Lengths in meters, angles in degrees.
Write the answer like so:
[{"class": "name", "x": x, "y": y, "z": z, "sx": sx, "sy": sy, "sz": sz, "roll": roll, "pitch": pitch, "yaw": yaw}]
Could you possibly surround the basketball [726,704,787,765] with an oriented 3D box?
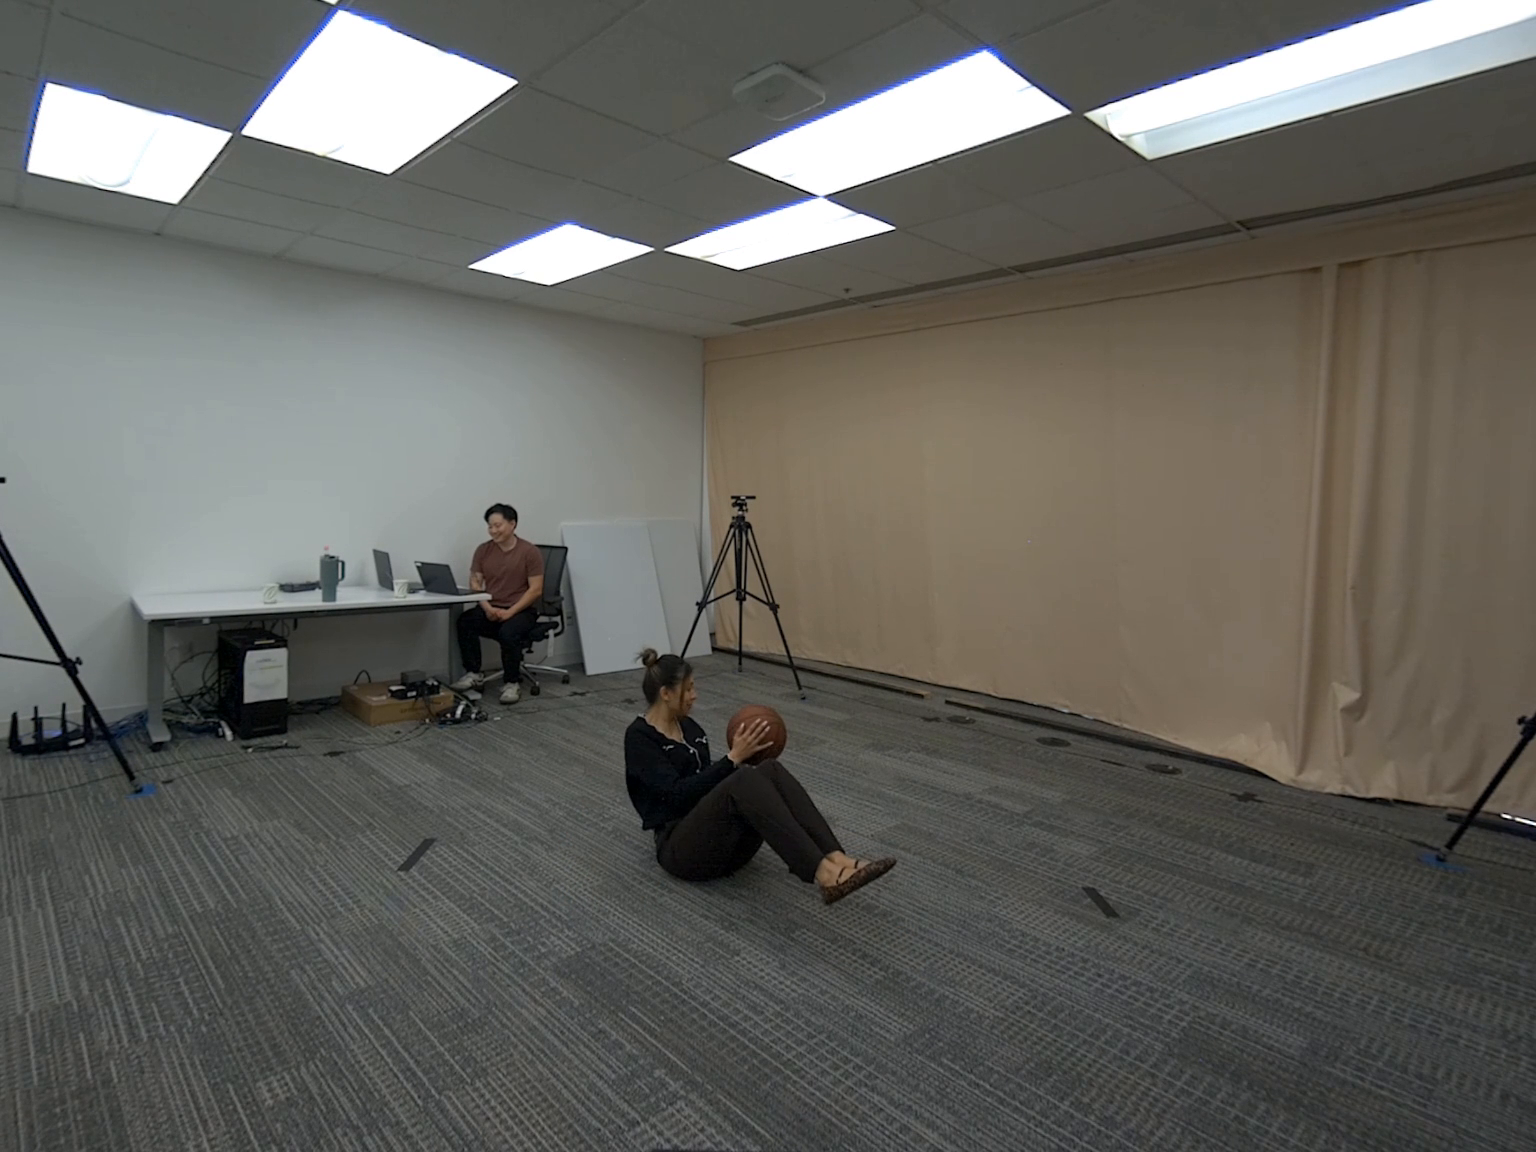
[{"class": "basketball", "x": -0.064, "y": 0.625, "z": 3.264, "sx": 0.236, "sy": 0.235, "sz": 0.237, "roll": 1, "pitch": 4, "yaw": -1}]
